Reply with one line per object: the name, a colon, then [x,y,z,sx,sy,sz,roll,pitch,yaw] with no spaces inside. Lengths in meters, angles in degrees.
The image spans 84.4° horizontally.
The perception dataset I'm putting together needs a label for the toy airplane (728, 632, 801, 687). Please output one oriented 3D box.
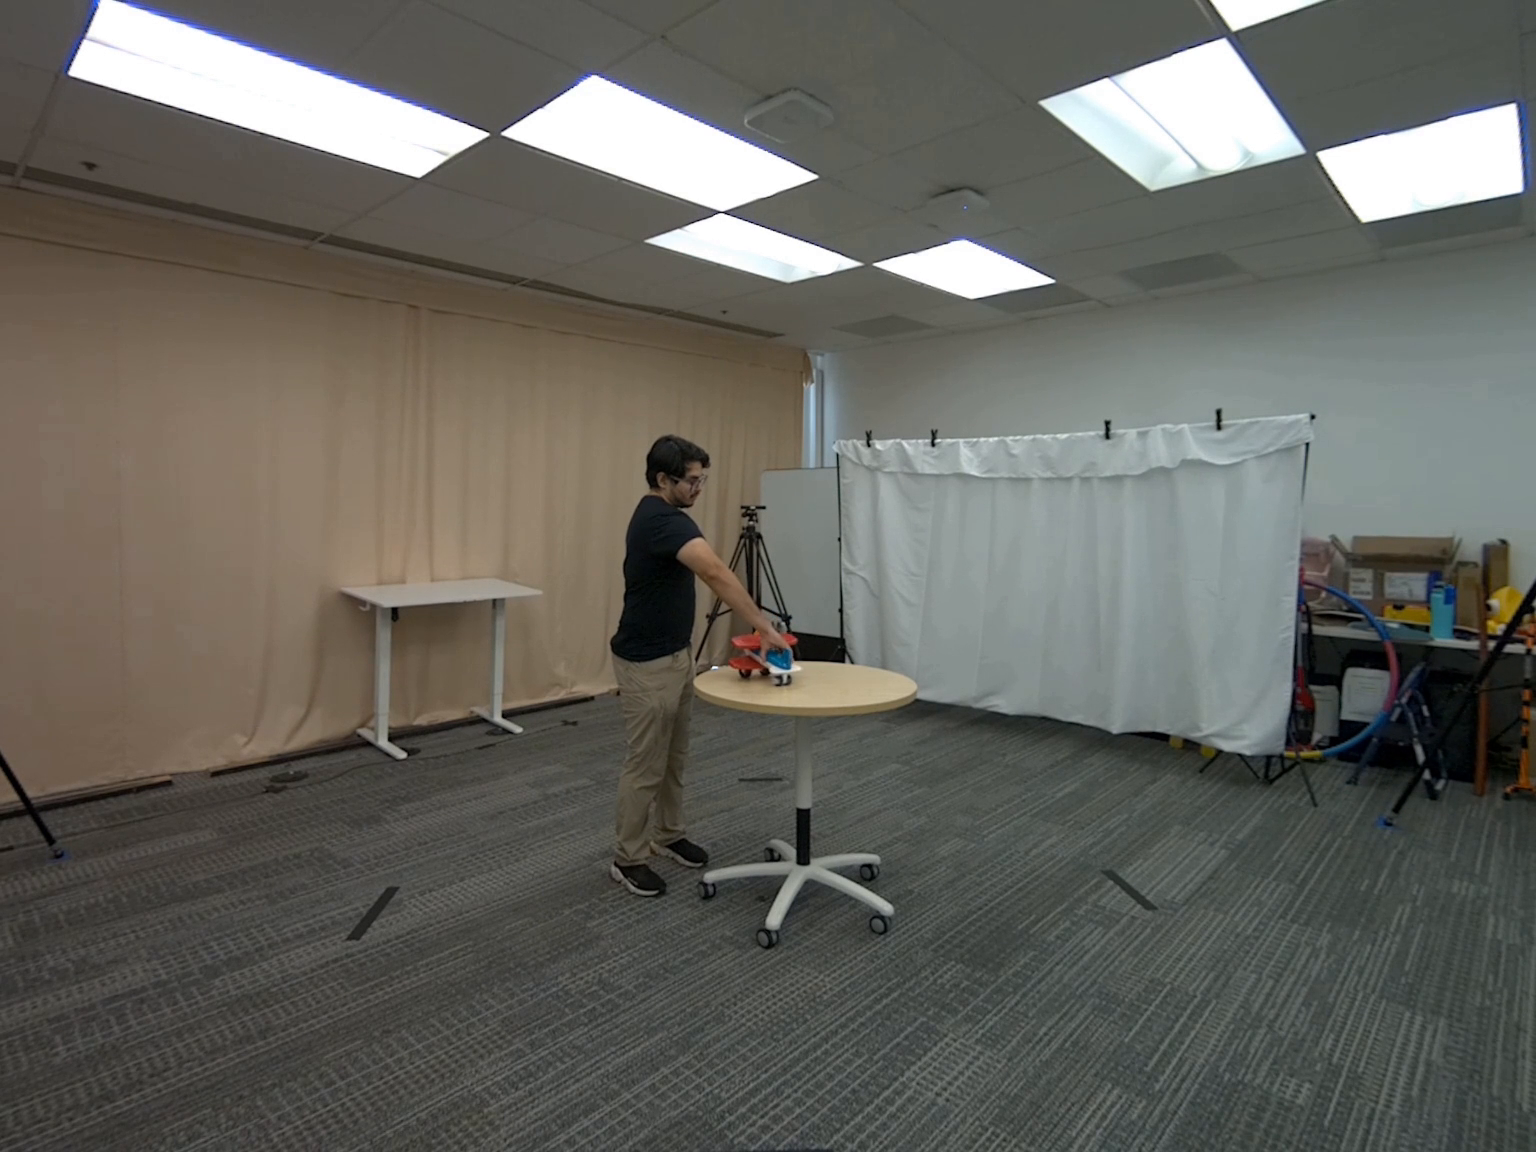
toy airplane: [0.024,0.292,2.952,0.267,0.156,0.244,2,3,32]
